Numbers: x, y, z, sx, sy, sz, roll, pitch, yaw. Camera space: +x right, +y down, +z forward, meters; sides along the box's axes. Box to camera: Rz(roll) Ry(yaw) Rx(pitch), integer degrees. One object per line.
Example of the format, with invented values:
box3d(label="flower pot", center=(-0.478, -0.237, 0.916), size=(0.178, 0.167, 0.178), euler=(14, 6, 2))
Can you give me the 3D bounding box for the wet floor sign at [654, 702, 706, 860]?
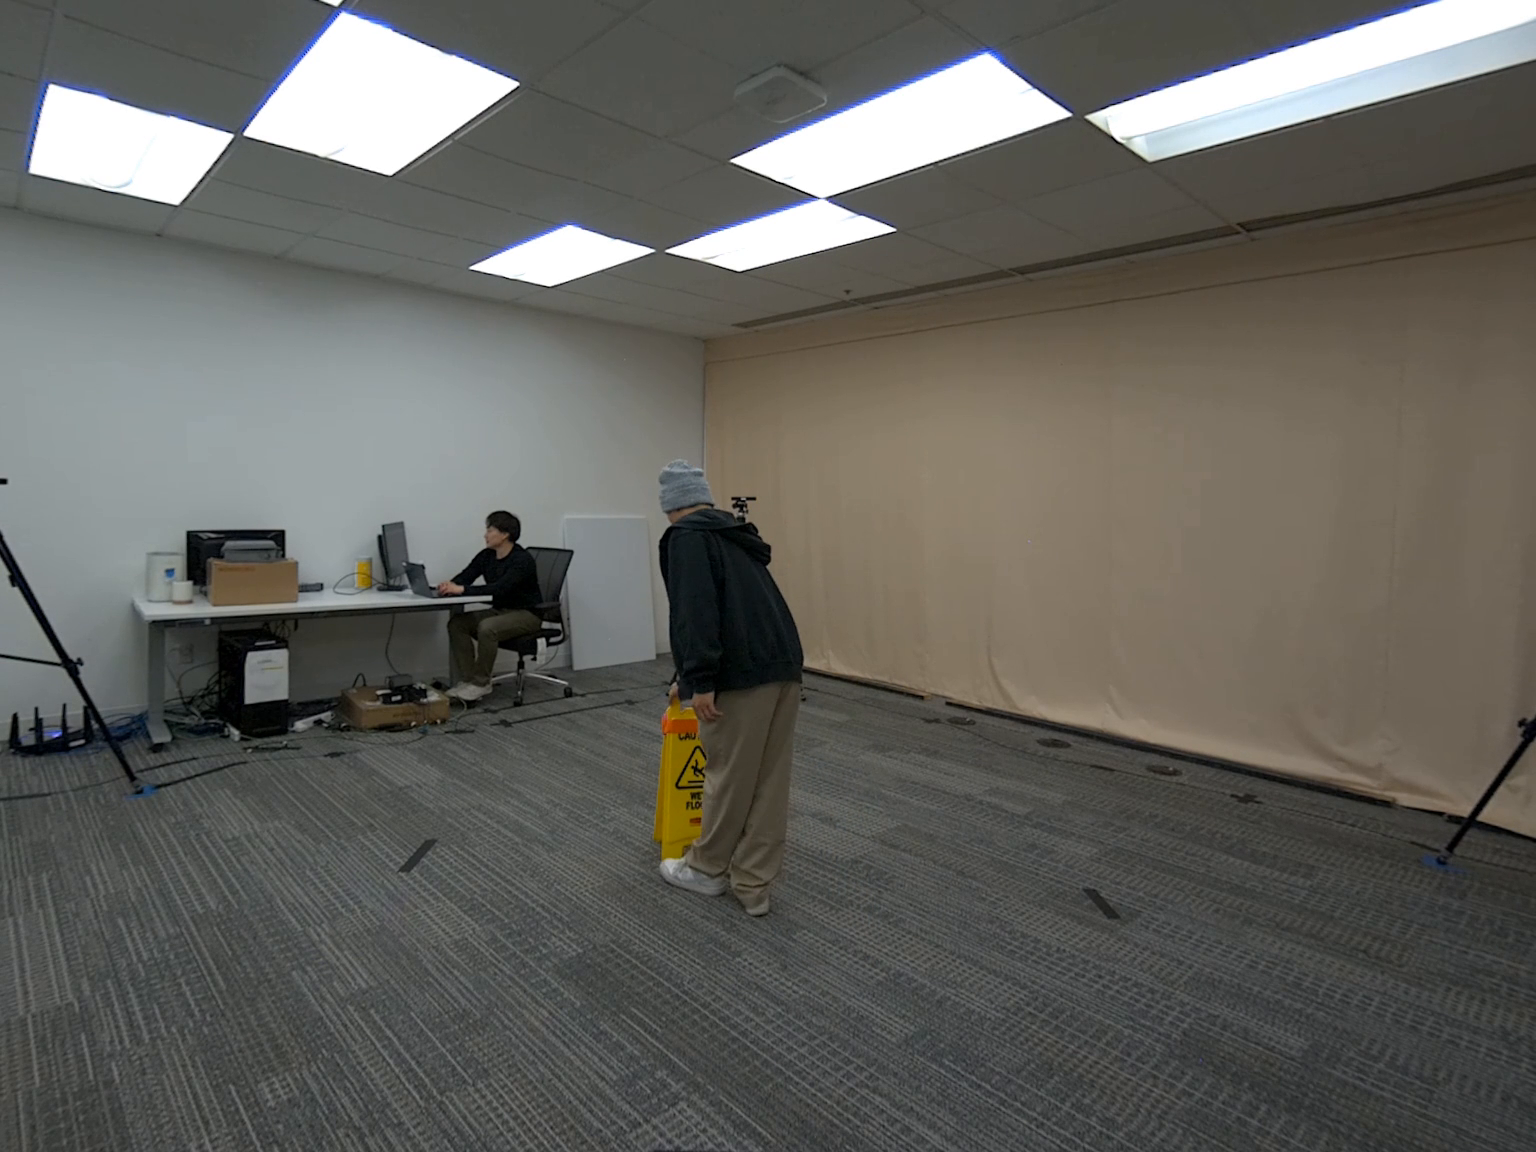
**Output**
box3d(label="wet floor sign", center=(-0.300, 0.757, 3.301), size=(0.279, 0.645, 0.293), euler=(1, 2, -13))
